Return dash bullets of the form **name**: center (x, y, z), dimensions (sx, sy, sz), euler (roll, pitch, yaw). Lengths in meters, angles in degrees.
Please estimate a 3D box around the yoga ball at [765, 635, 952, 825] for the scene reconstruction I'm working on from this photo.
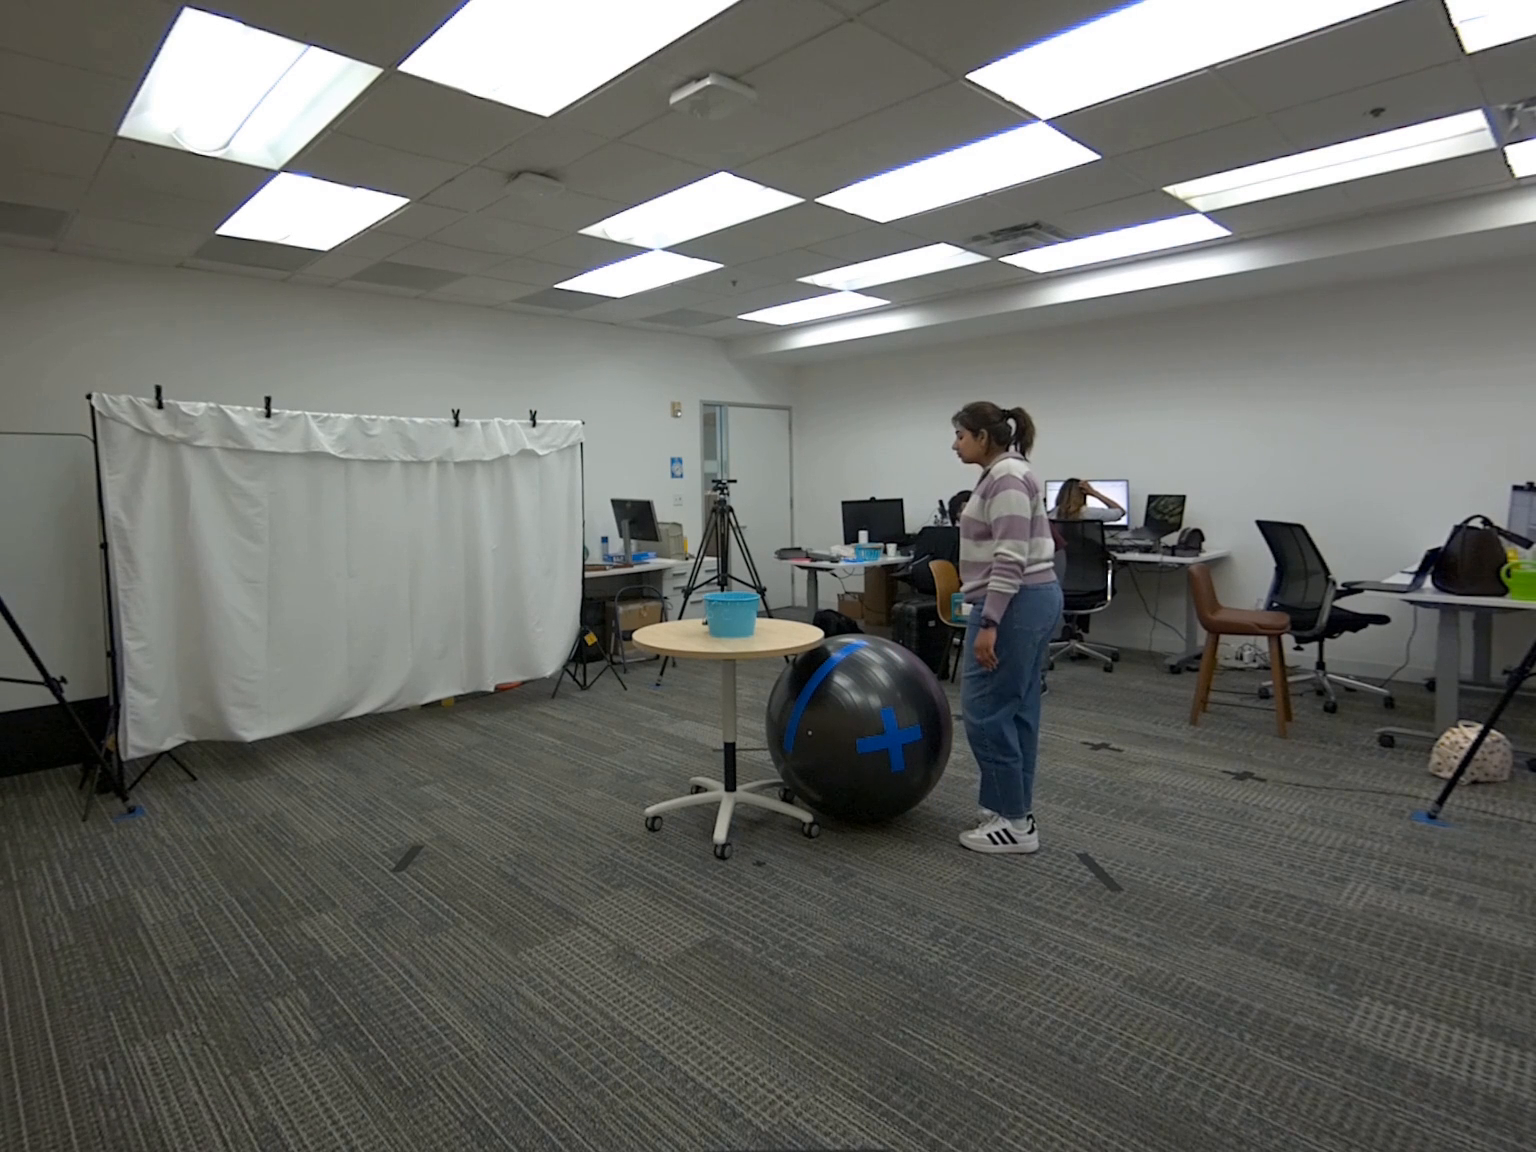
- **yoga ball**: center (0.372, 0.619, 3.533), dimensions (0.757, 0.755, 0.762), euler (-1, 5, -2)
